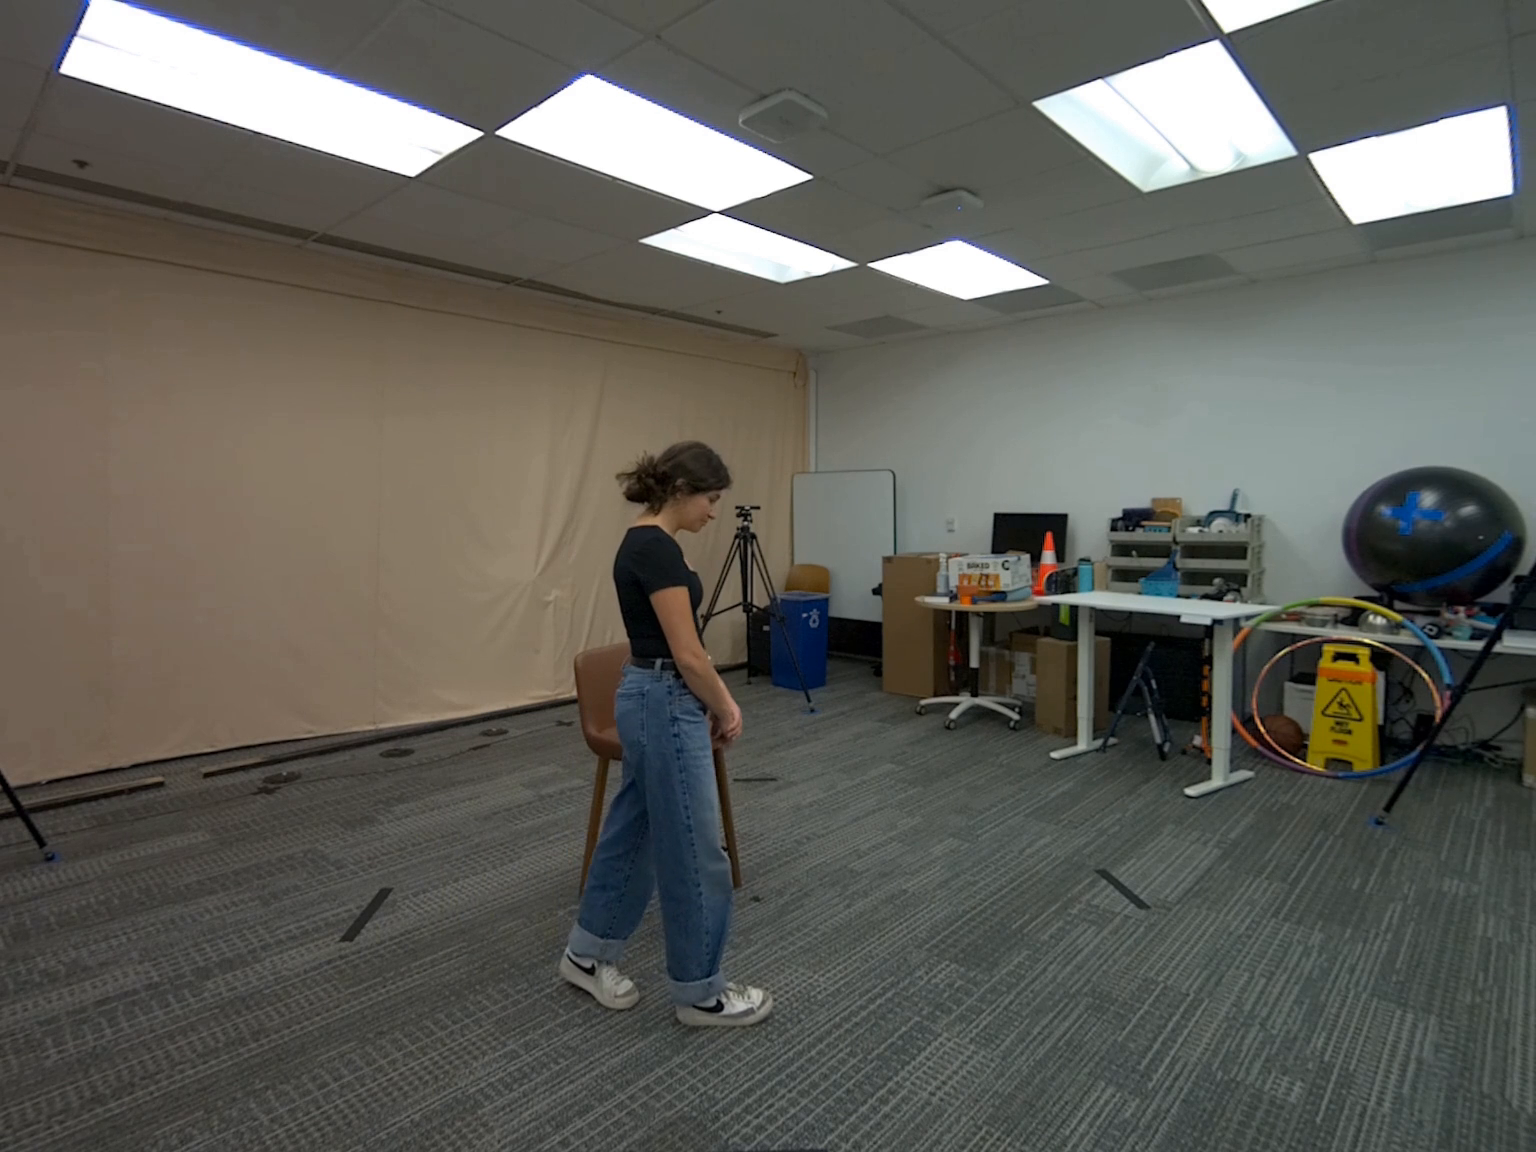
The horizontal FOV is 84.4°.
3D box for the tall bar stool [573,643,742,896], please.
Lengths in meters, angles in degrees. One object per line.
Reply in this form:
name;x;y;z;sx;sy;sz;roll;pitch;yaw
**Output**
tall bar stool;-0.397;0.710;3.011;0.481;0.888;0.444;0;3;33
